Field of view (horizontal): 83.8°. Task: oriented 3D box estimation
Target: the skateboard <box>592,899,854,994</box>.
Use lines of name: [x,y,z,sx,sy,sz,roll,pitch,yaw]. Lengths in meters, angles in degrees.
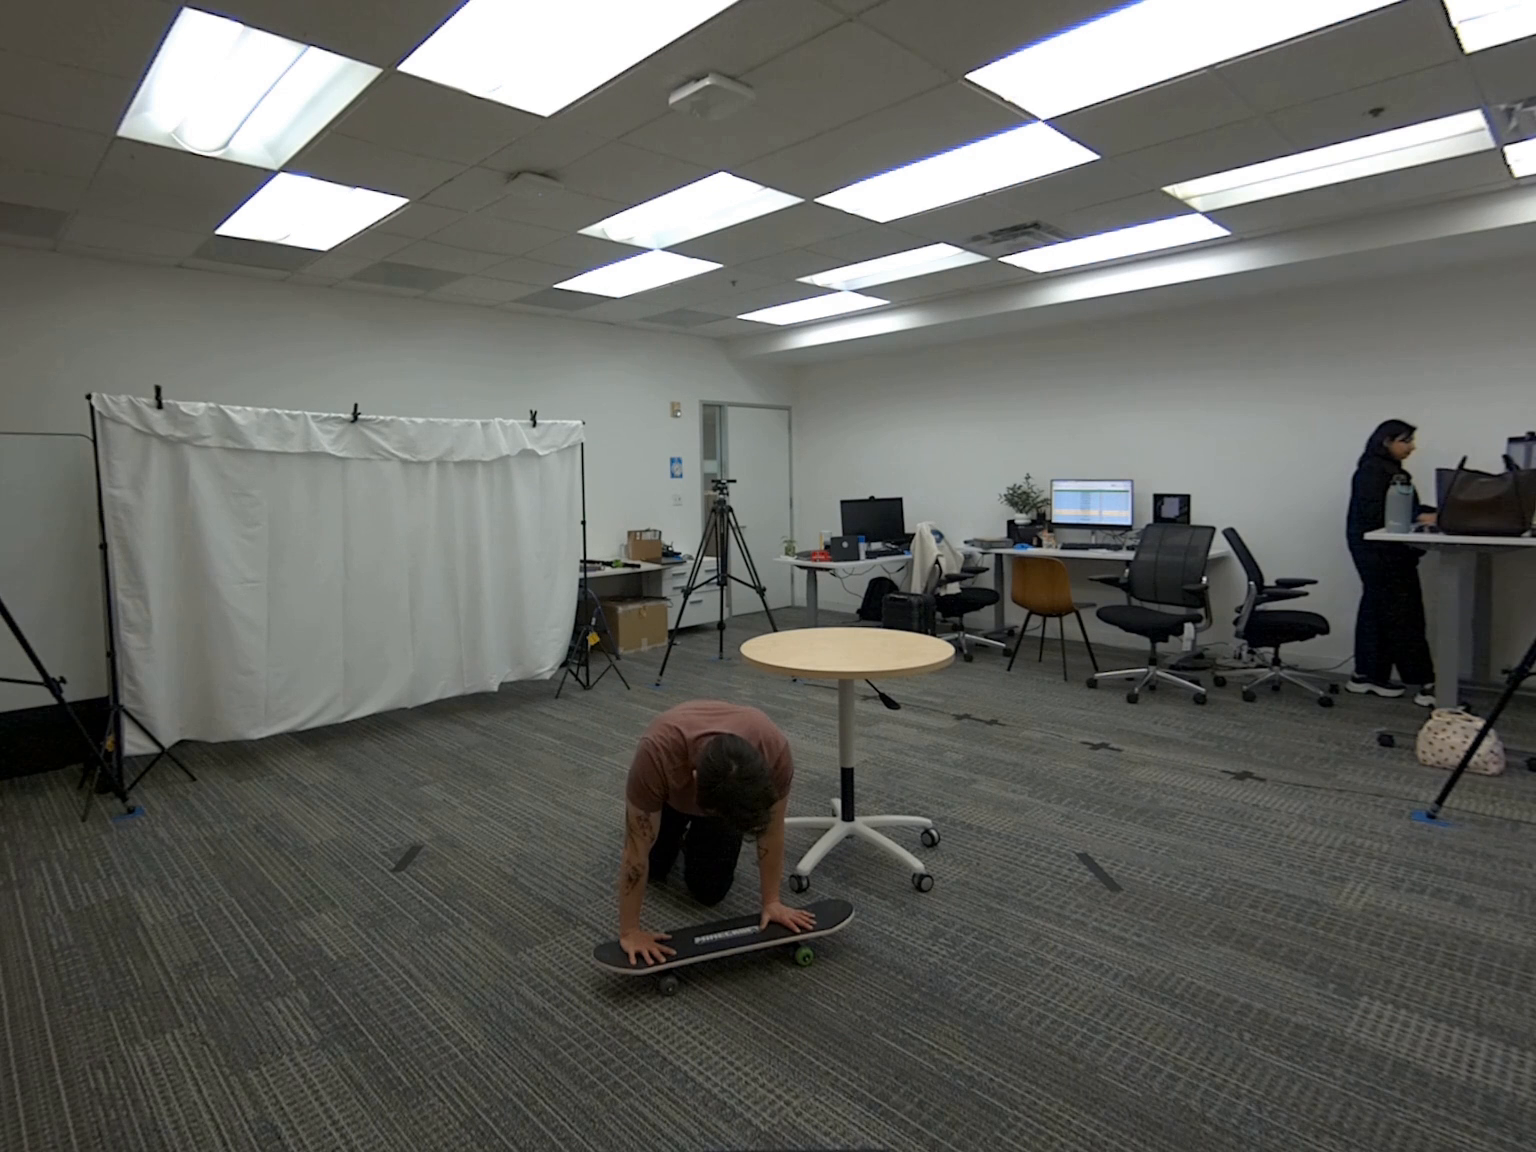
skateboard: [-0.112,1.069,2.472,0.773,0.110,0.196,-4,2,-17]
